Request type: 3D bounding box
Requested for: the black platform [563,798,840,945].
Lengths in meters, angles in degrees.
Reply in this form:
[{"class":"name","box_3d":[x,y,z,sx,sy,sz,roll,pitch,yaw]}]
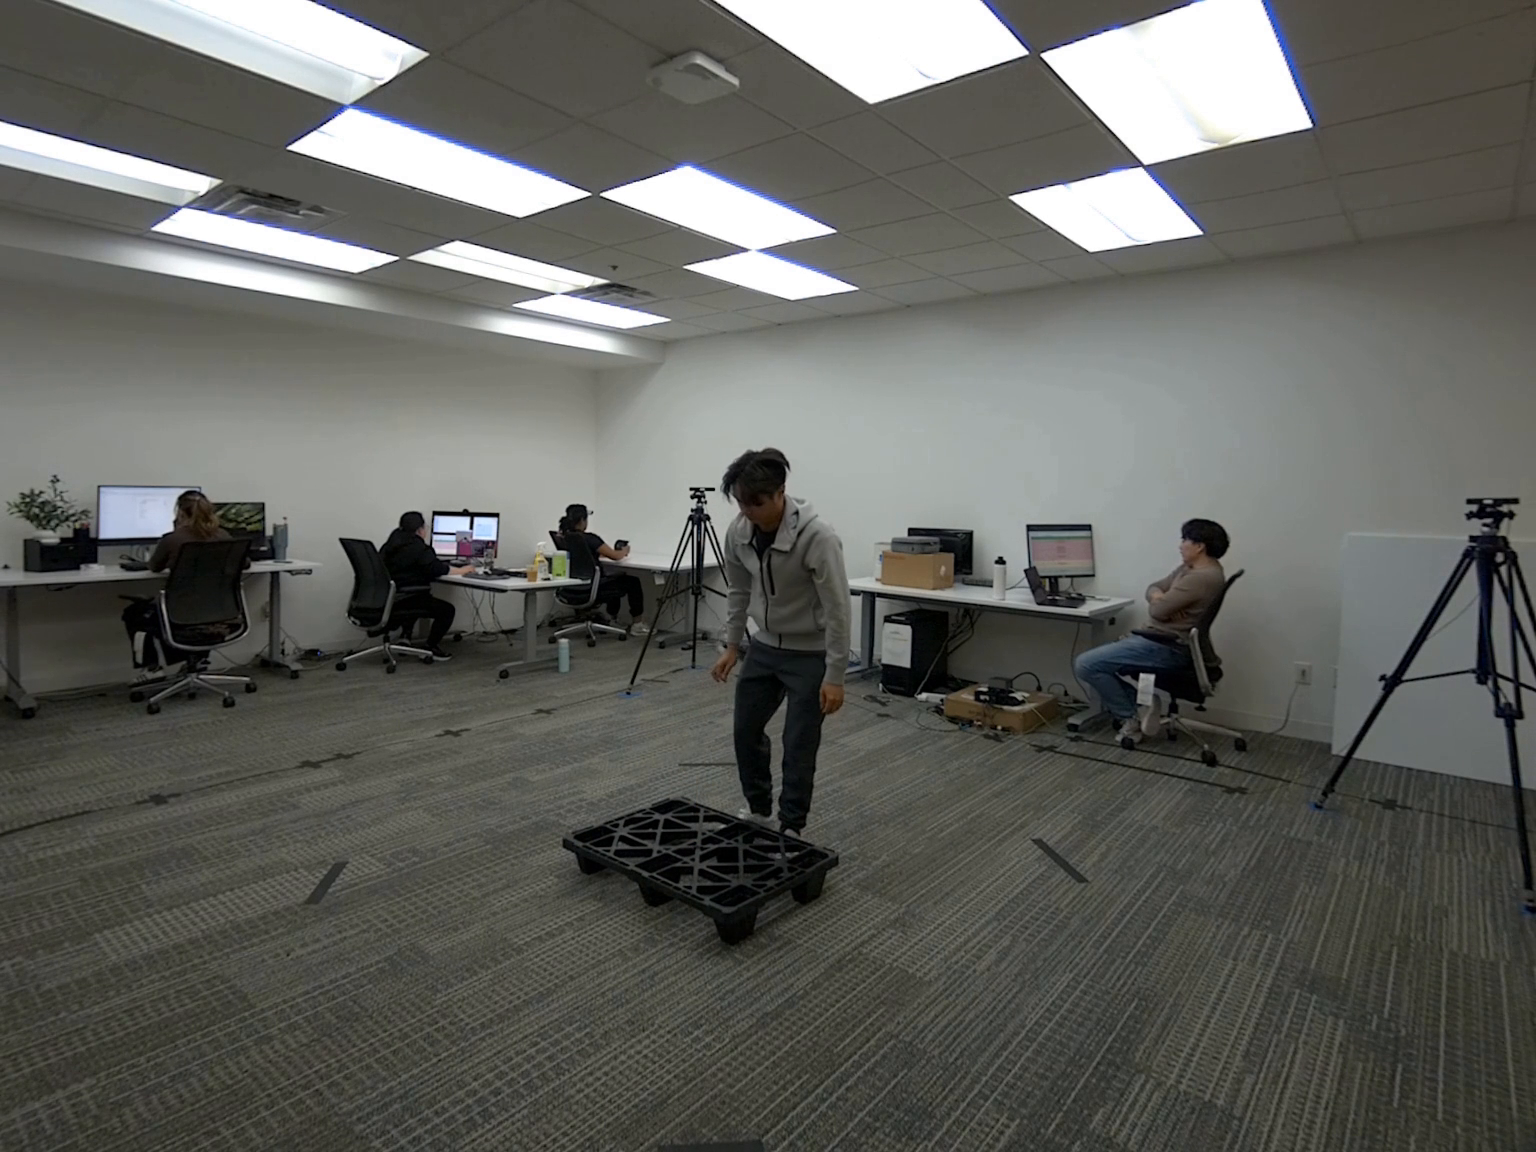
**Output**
[{"class":"black platform","box_3d":[-0.258,1.013,2.998,0.833,0.143,0.587,6,6,40]}]
